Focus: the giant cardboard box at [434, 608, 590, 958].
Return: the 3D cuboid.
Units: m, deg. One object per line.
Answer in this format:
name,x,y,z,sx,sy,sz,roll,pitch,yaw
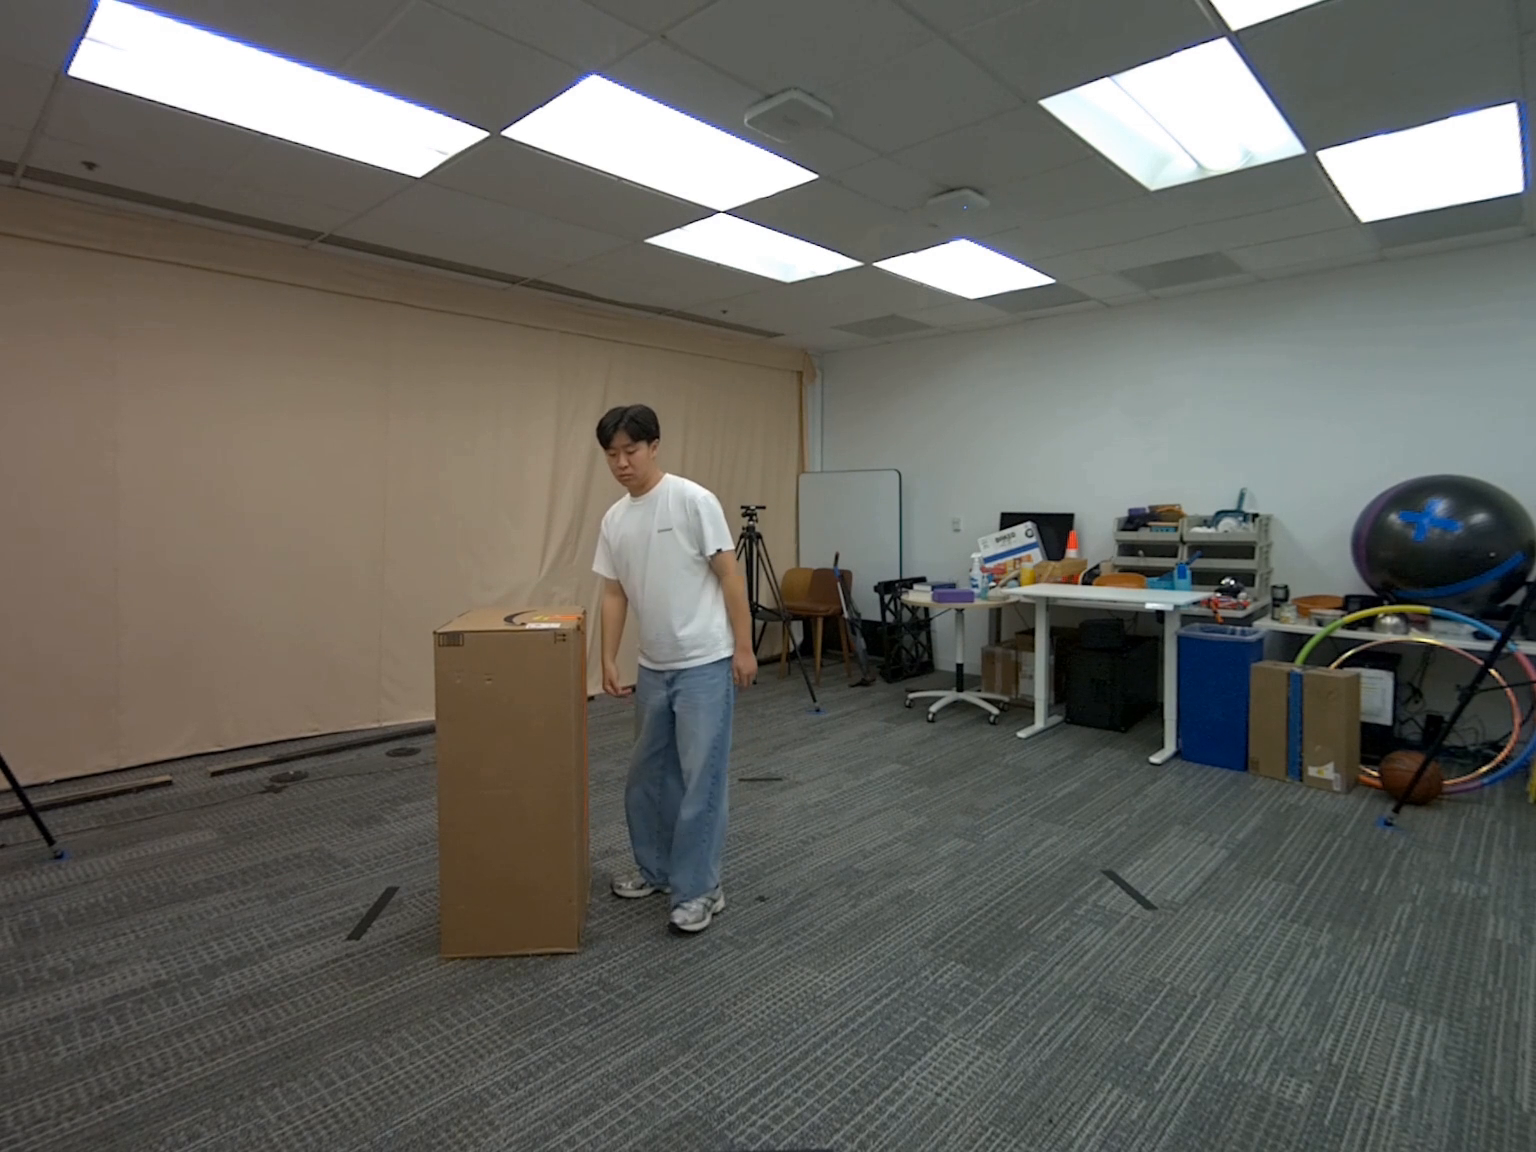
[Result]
giant cardboard box,-0.846,0.652,2.865,0.423,1.024,0.582,-1,2,-7
